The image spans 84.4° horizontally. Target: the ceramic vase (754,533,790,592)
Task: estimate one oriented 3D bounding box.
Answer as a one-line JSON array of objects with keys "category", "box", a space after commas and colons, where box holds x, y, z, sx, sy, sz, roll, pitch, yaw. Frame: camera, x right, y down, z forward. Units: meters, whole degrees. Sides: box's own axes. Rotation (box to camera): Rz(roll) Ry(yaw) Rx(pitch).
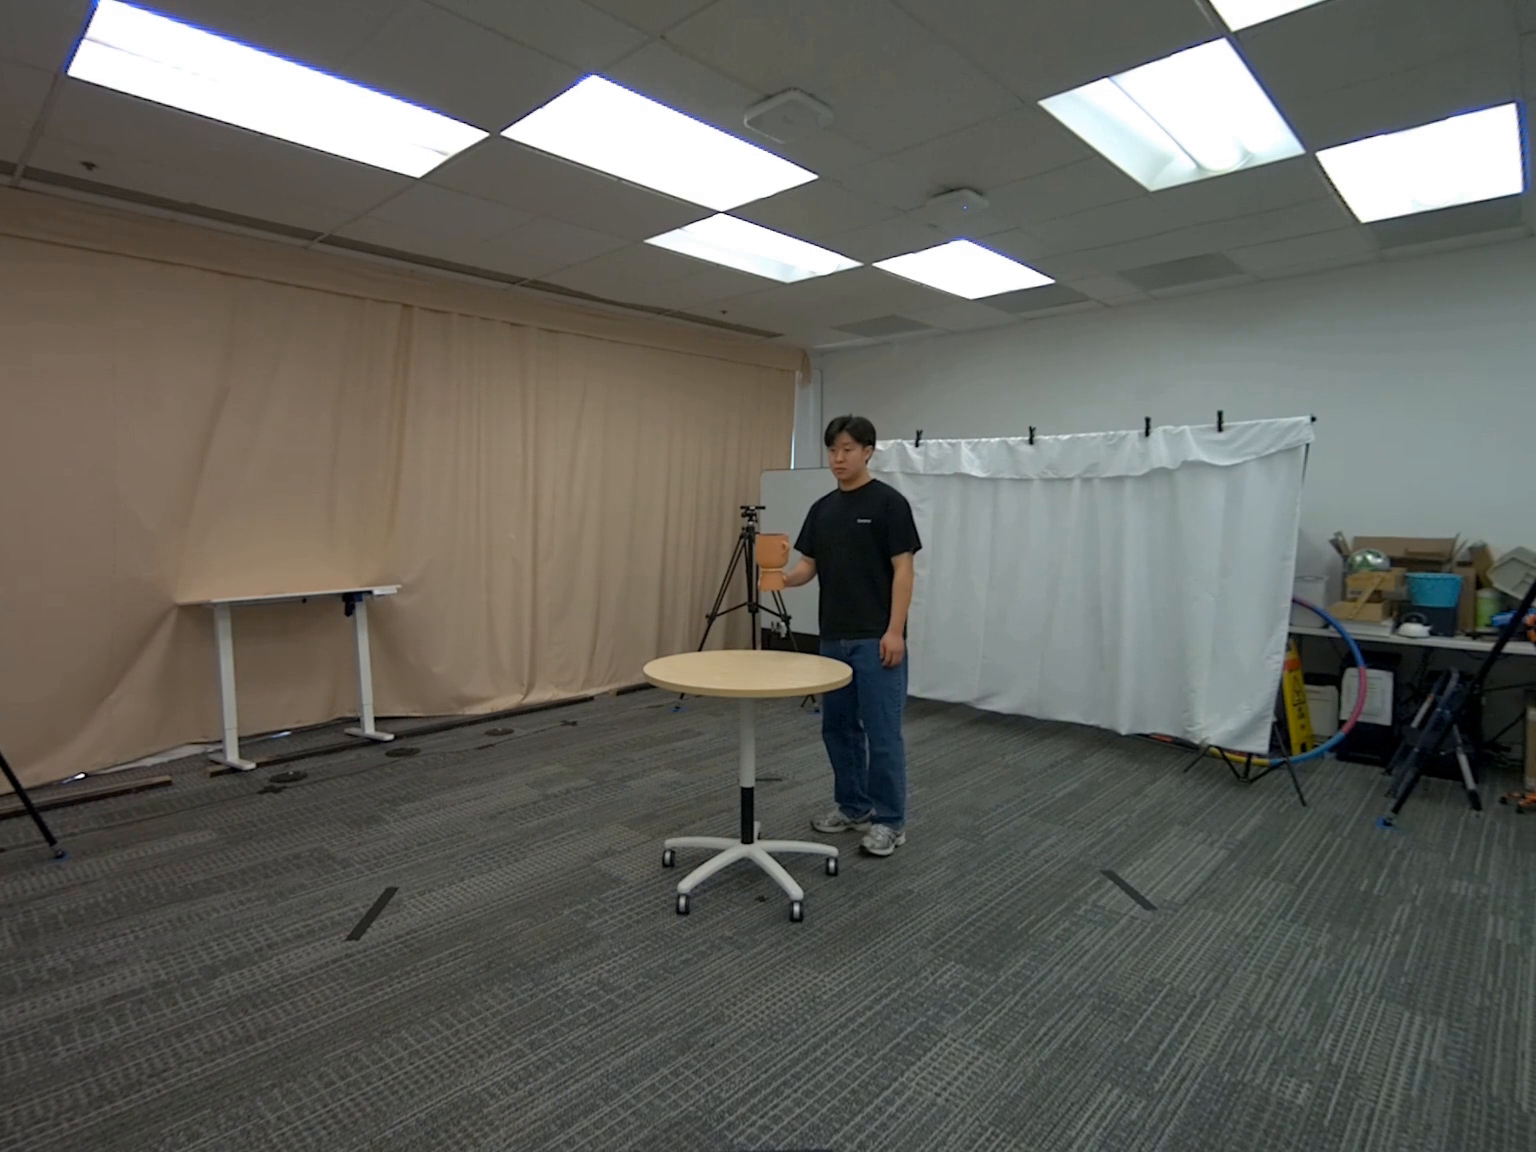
[{"category": "ceramic vase", "box": [0.024, -0.055, 3.392, 0.135, 0.219, 0.159, 0, 5, 0]}]
